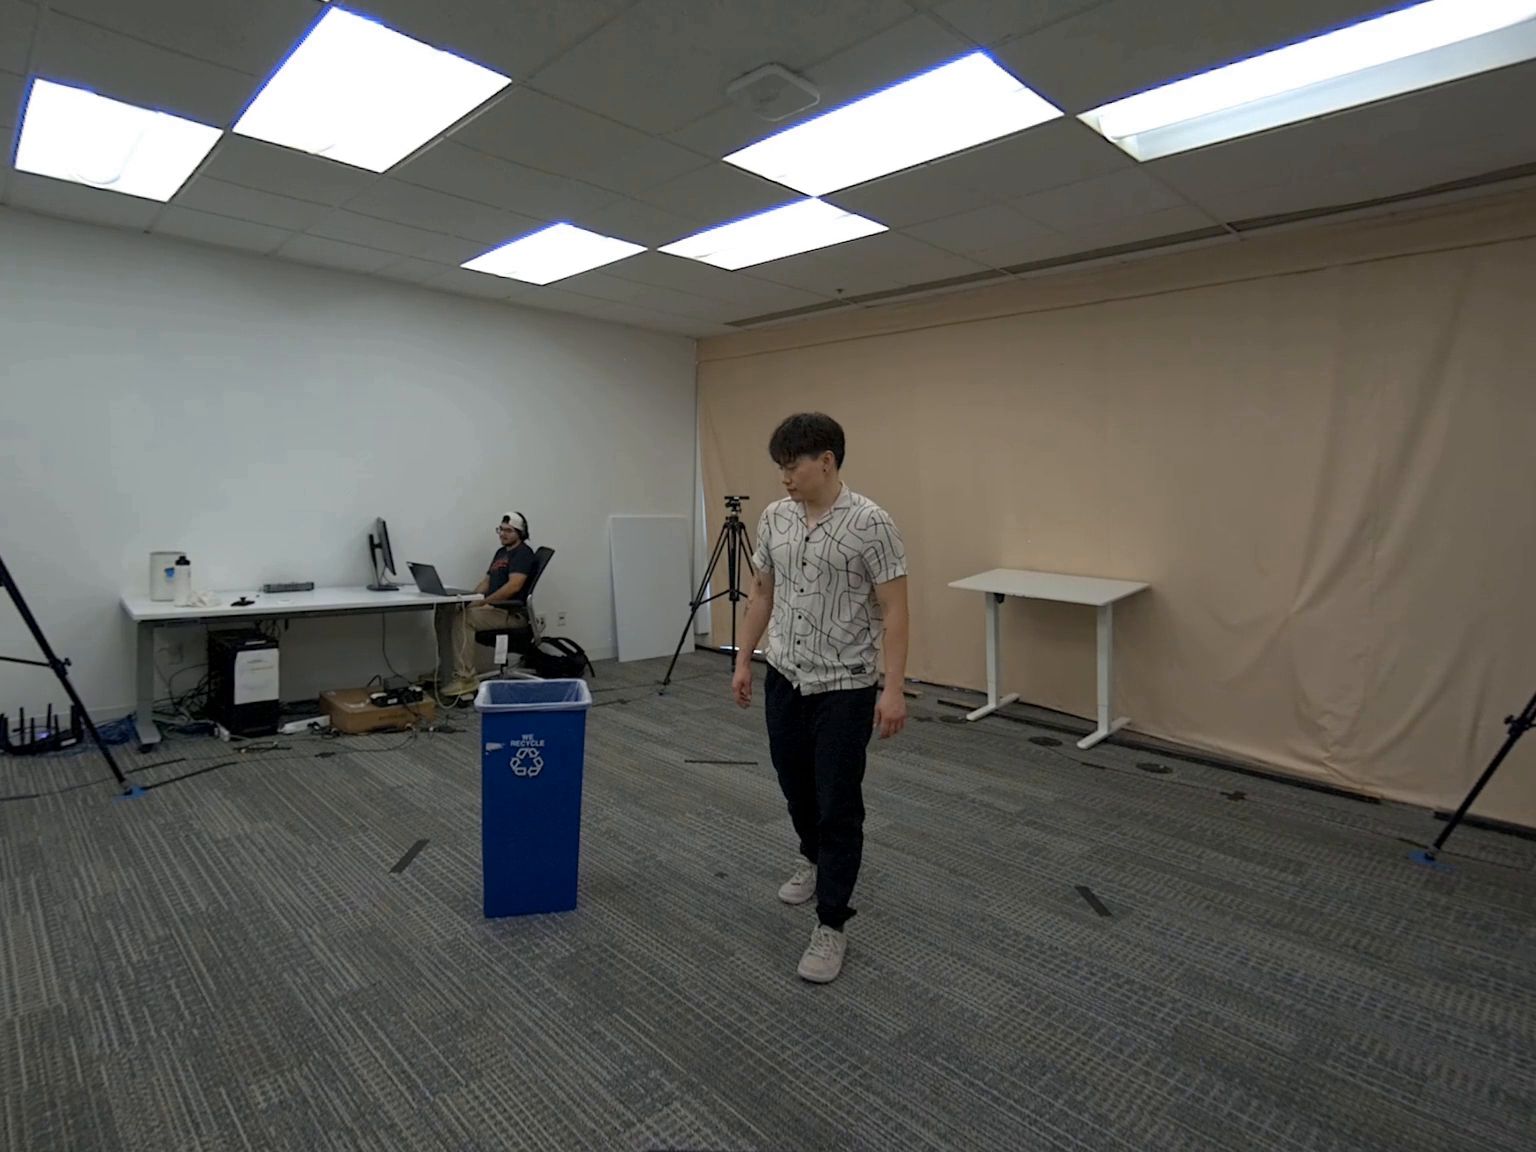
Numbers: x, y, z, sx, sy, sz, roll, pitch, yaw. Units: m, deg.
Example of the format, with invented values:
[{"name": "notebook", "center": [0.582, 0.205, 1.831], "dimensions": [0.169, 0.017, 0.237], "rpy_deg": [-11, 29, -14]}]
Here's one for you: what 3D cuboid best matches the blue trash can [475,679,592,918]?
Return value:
[{"name": "blue trash can", "center": [-0.813, 0.750, 2.909], "dimensions": [0.369, 0.711, 0.384], "rpy_deg": [1, 4, -16]}]
